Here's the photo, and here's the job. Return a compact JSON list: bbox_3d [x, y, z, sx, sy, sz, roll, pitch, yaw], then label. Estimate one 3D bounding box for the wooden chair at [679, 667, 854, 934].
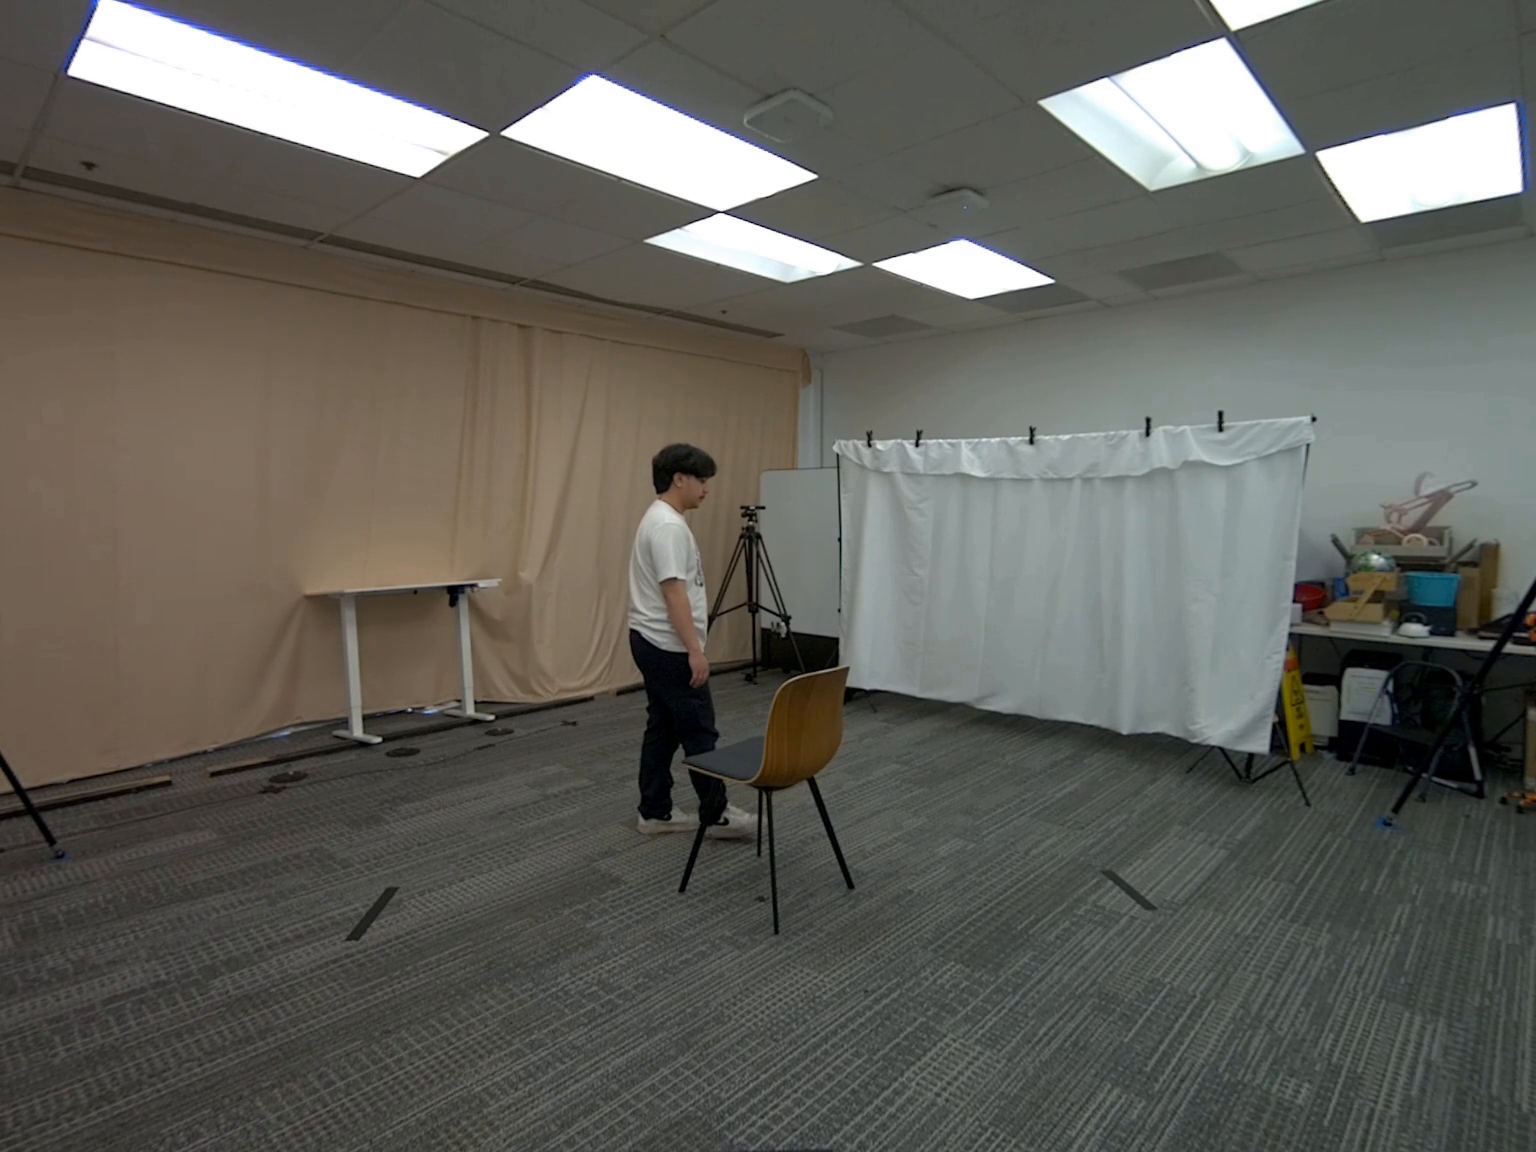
[{"bbox_3d":[-0.008,0.713,3.023,0.541,0.874,0.463,8,8,41],"label":"wooden chair"}]
